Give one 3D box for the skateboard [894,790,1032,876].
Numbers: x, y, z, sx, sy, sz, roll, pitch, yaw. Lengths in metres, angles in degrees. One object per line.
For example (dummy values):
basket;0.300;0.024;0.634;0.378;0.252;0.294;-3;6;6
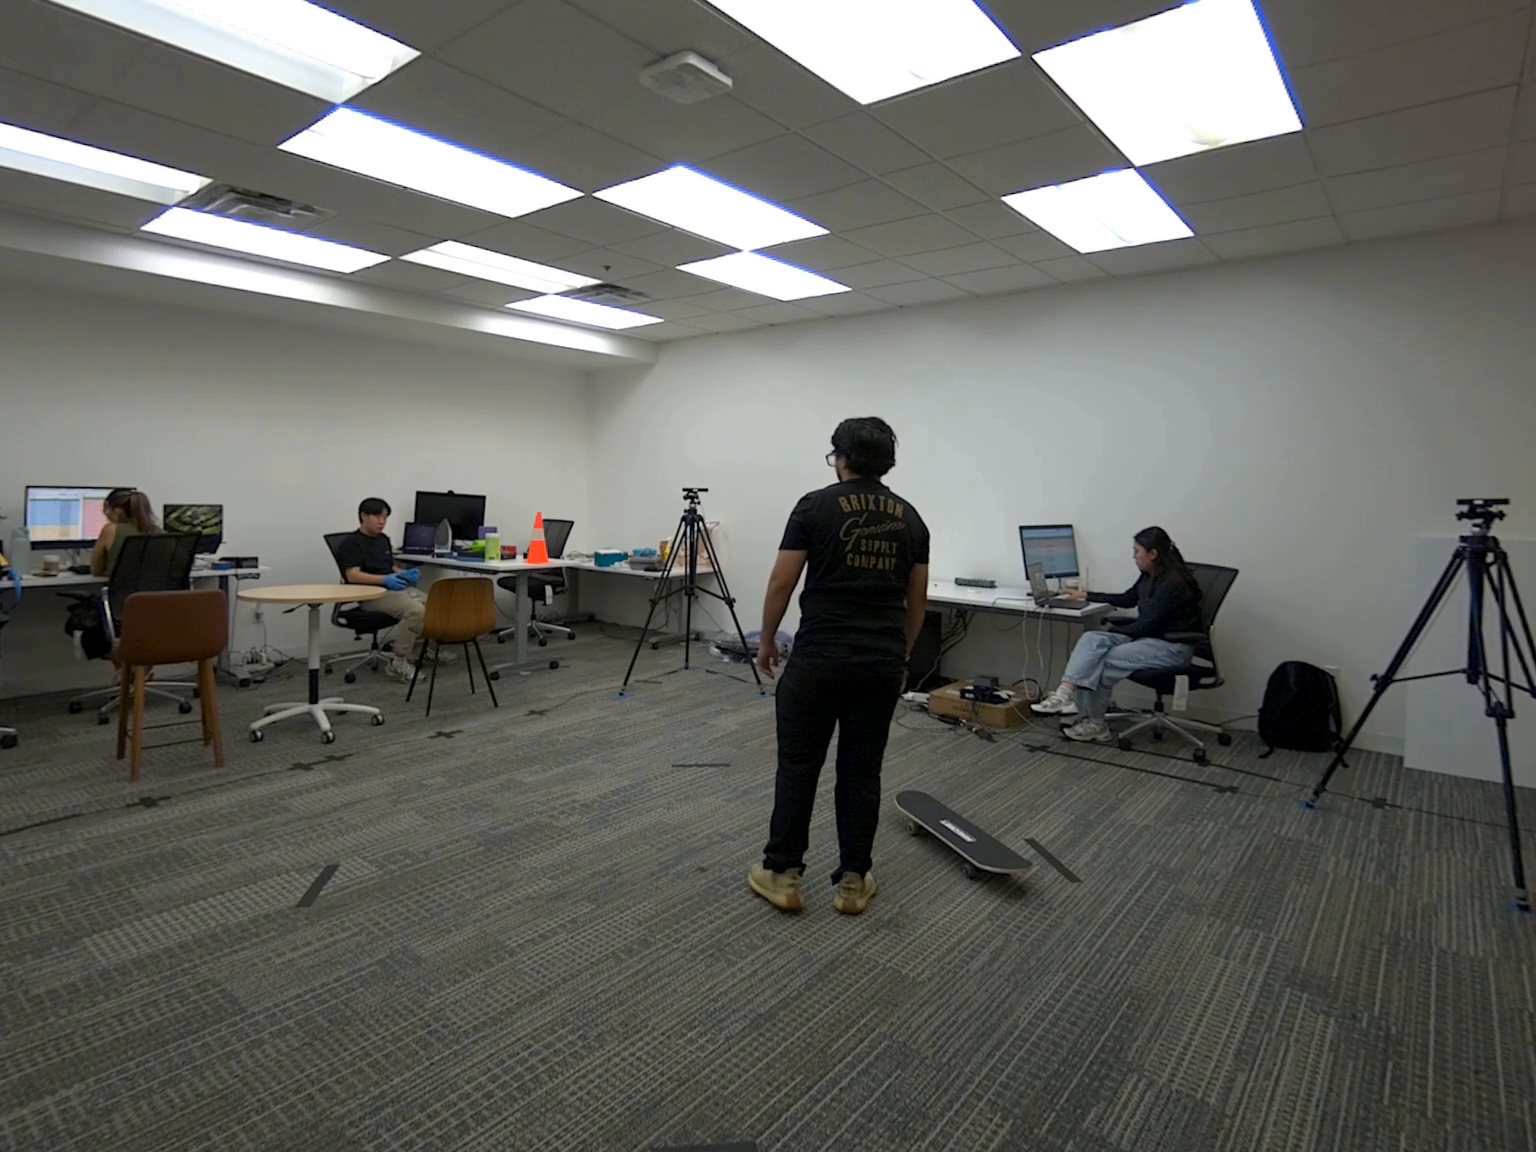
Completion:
skateboard;0.730;1.014;3.310;0.190;0.110;0.804;-1;6;-21
